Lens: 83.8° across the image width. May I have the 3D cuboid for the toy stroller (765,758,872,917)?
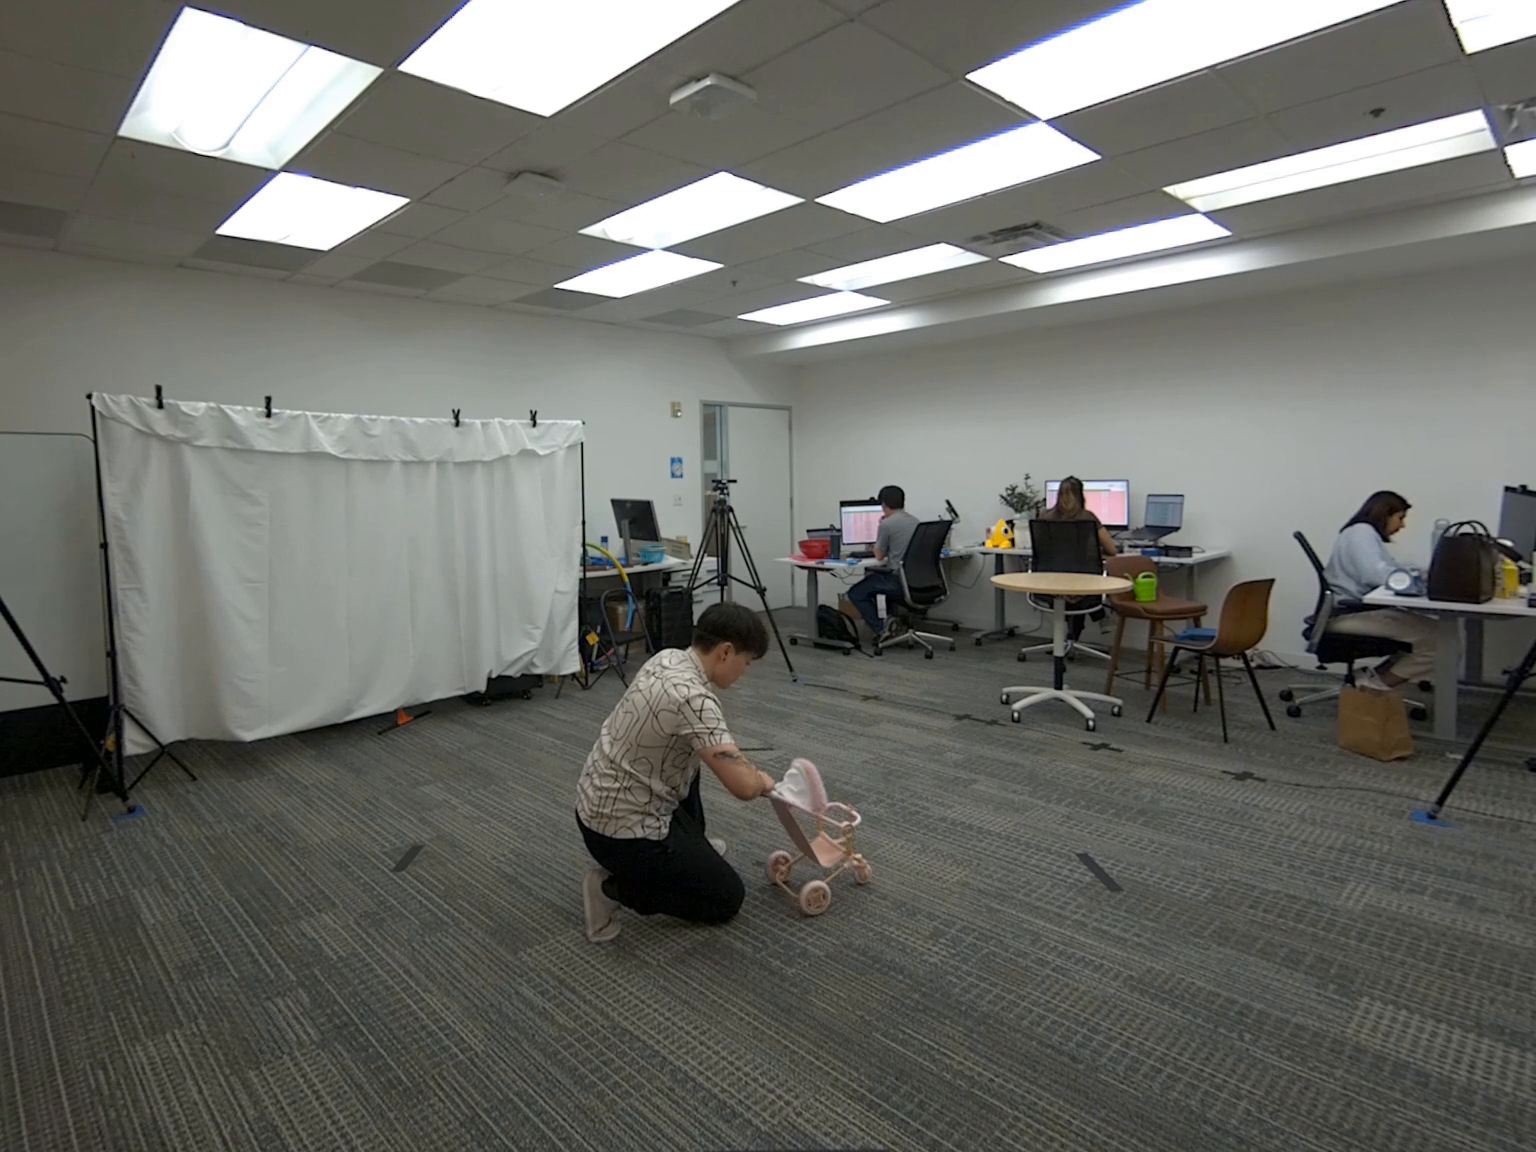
[{"bbox_3d":[0.150,0.841,2.861,0.338,0.530,0.287,-19,9,-18],"label":"toy stroller"}]
